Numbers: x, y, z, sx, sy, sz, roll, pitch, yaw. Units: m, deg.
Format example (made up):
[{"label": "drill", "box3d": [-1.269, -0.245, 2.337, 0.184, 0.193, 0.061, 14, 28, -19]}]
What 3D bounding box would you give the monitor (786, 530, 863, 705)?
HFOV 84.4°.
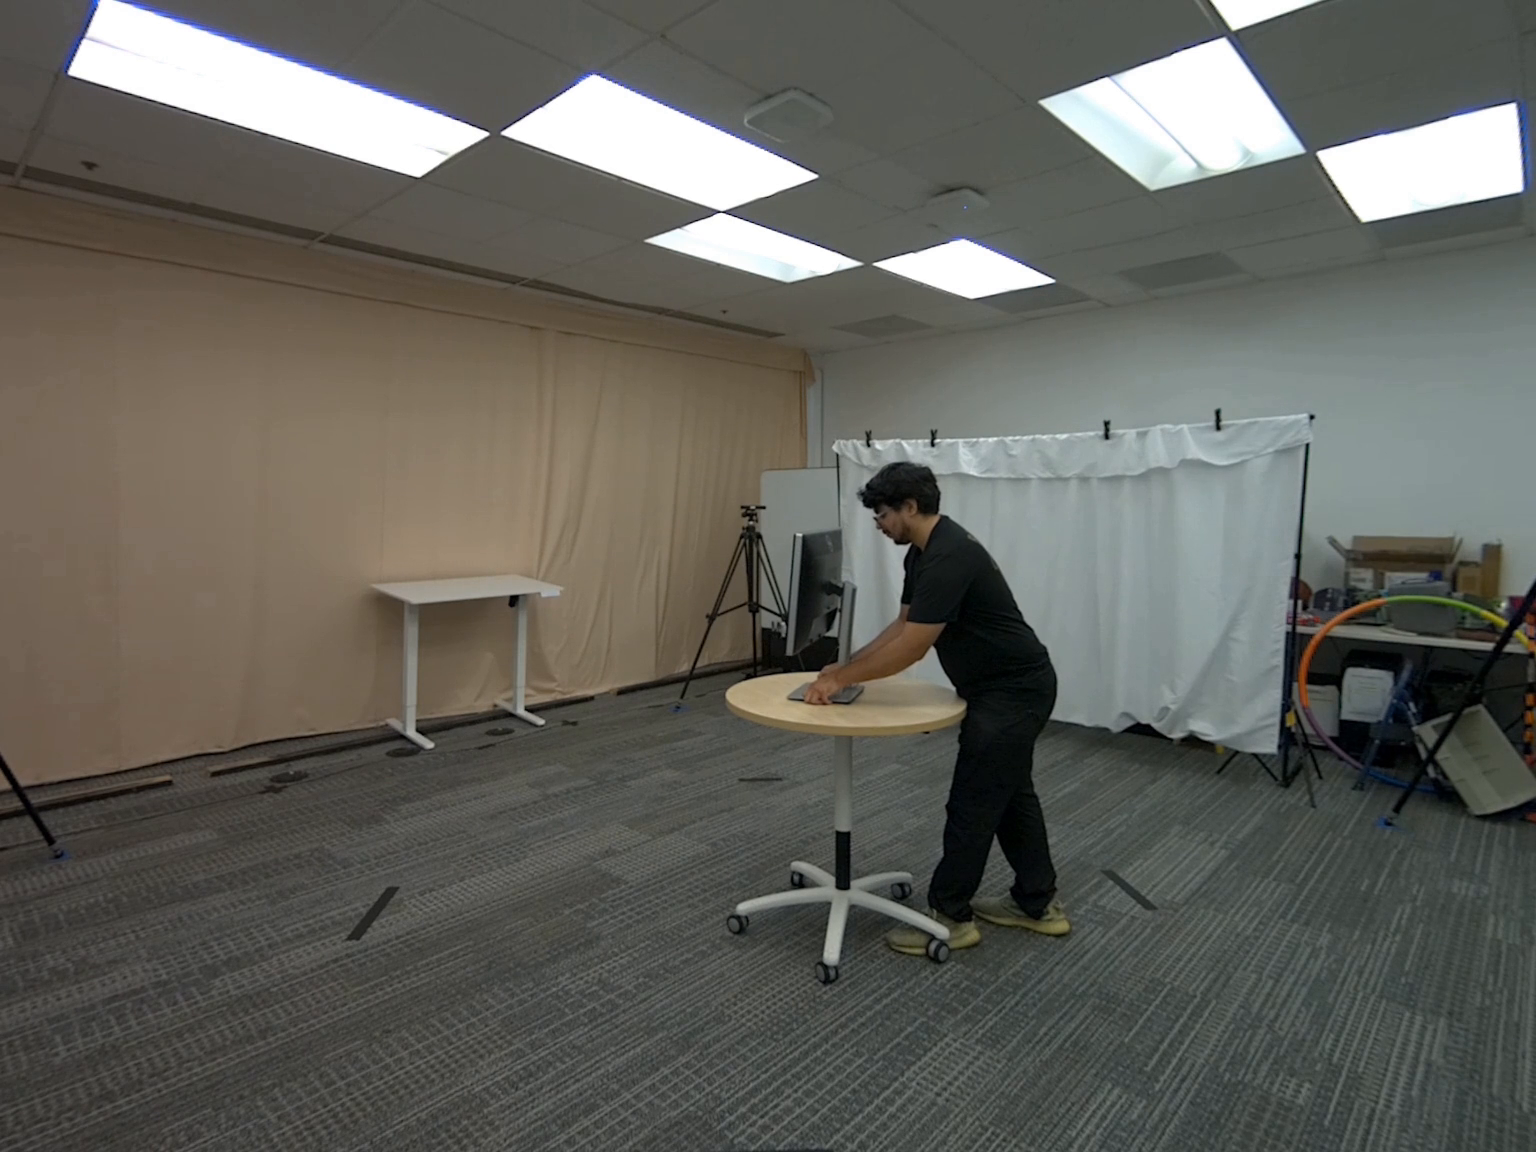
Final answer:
[{"label": "monitor", "box3d": [0.223, 0.126, 2.714, 0.214, 0.553, 0.555, 1, 4, 18]}]
